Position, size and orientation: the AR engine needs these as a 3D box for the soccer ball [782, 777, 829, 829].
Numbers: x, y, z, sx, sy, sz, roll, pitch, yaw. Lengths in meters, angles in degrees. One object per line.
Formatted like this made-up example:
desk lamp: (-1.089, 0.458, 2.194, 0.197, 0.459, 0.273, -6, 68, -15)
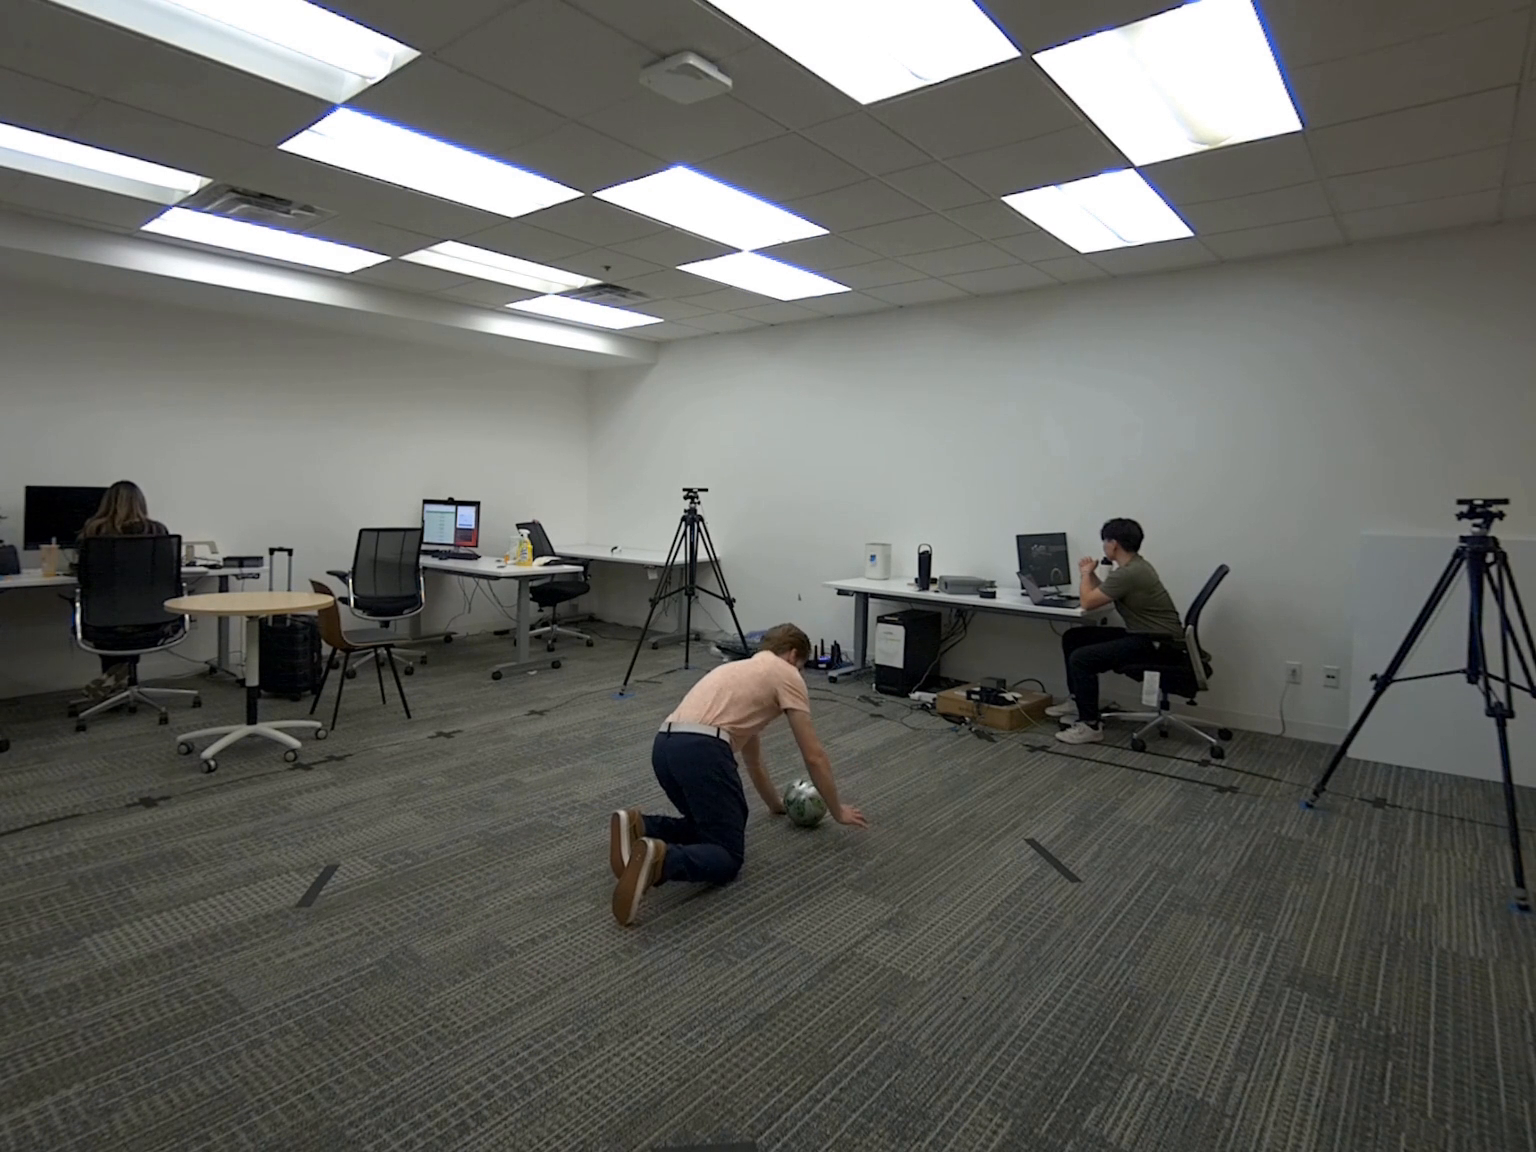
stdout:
soccer ball: (0.153, 0.947, 3.553, 0.187, 0.187, 0.188, 1, 4, -2)
